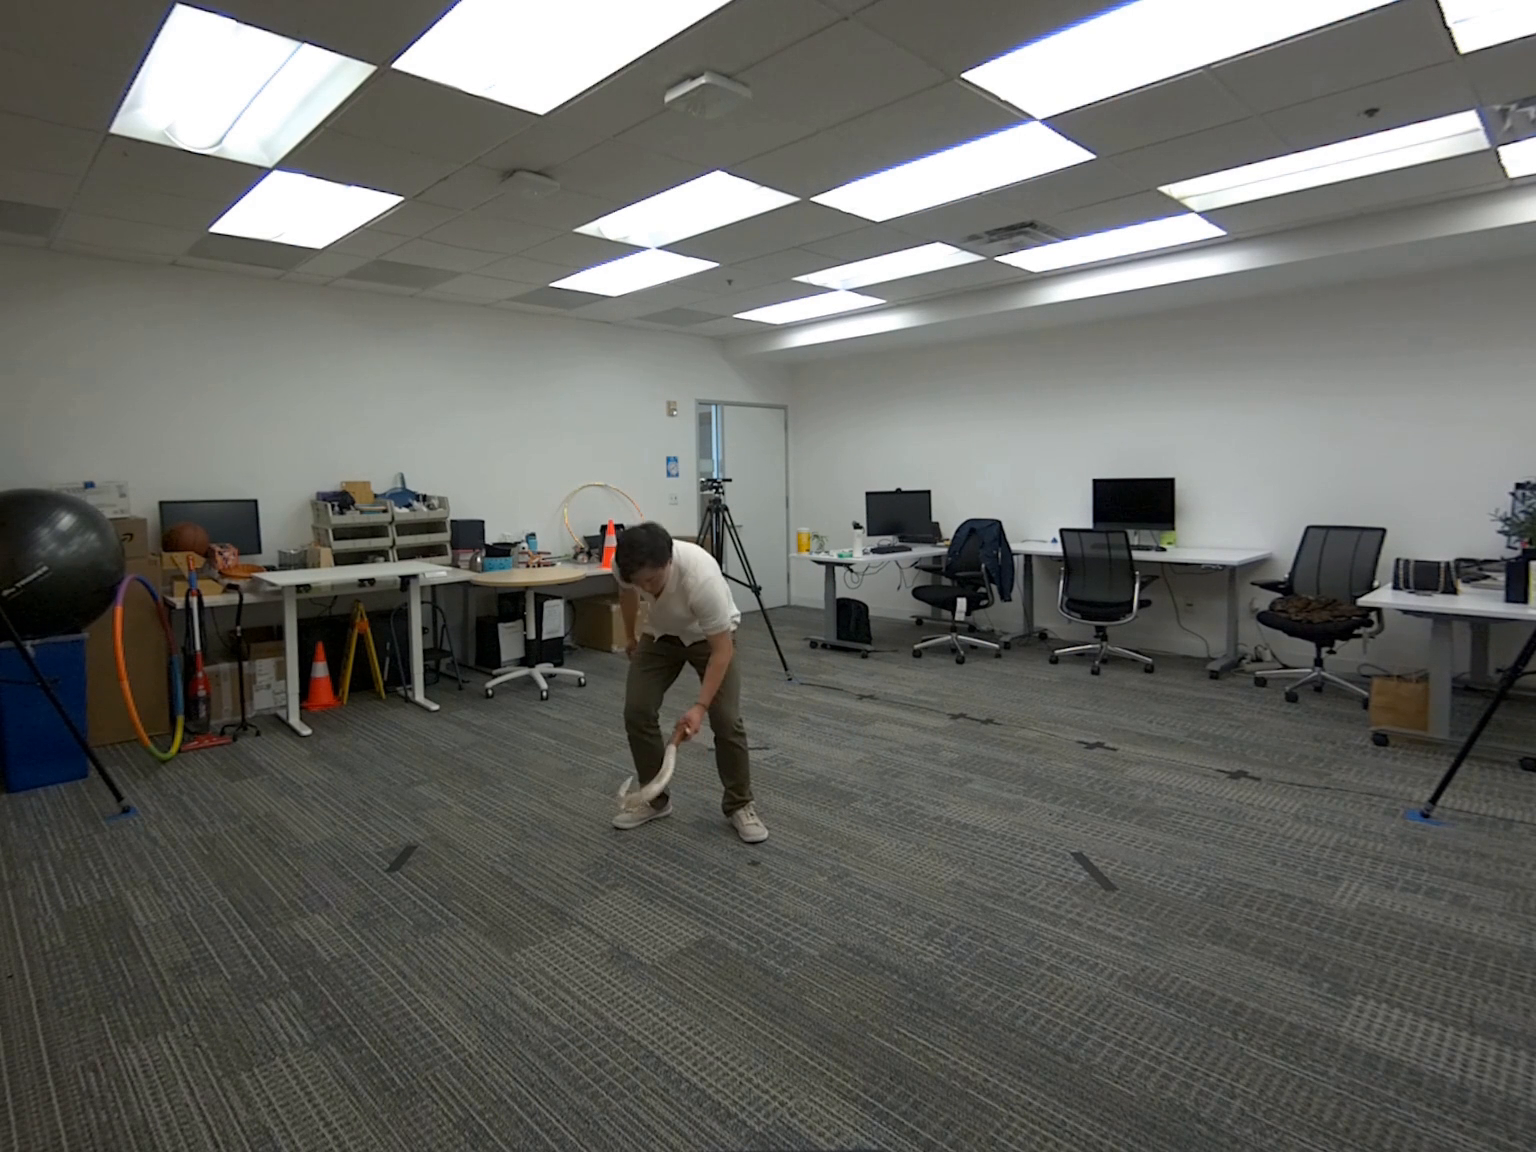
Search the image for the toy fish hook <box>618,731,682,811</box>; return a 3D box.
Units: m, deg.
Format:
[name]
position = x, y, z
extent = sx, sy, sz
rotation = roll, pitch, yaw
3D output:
[toy fish hook]
position = -0.397, 0.654, 3.025
extent = 0.227, 0.047, 0.511
rotation = -25, 17, 19
